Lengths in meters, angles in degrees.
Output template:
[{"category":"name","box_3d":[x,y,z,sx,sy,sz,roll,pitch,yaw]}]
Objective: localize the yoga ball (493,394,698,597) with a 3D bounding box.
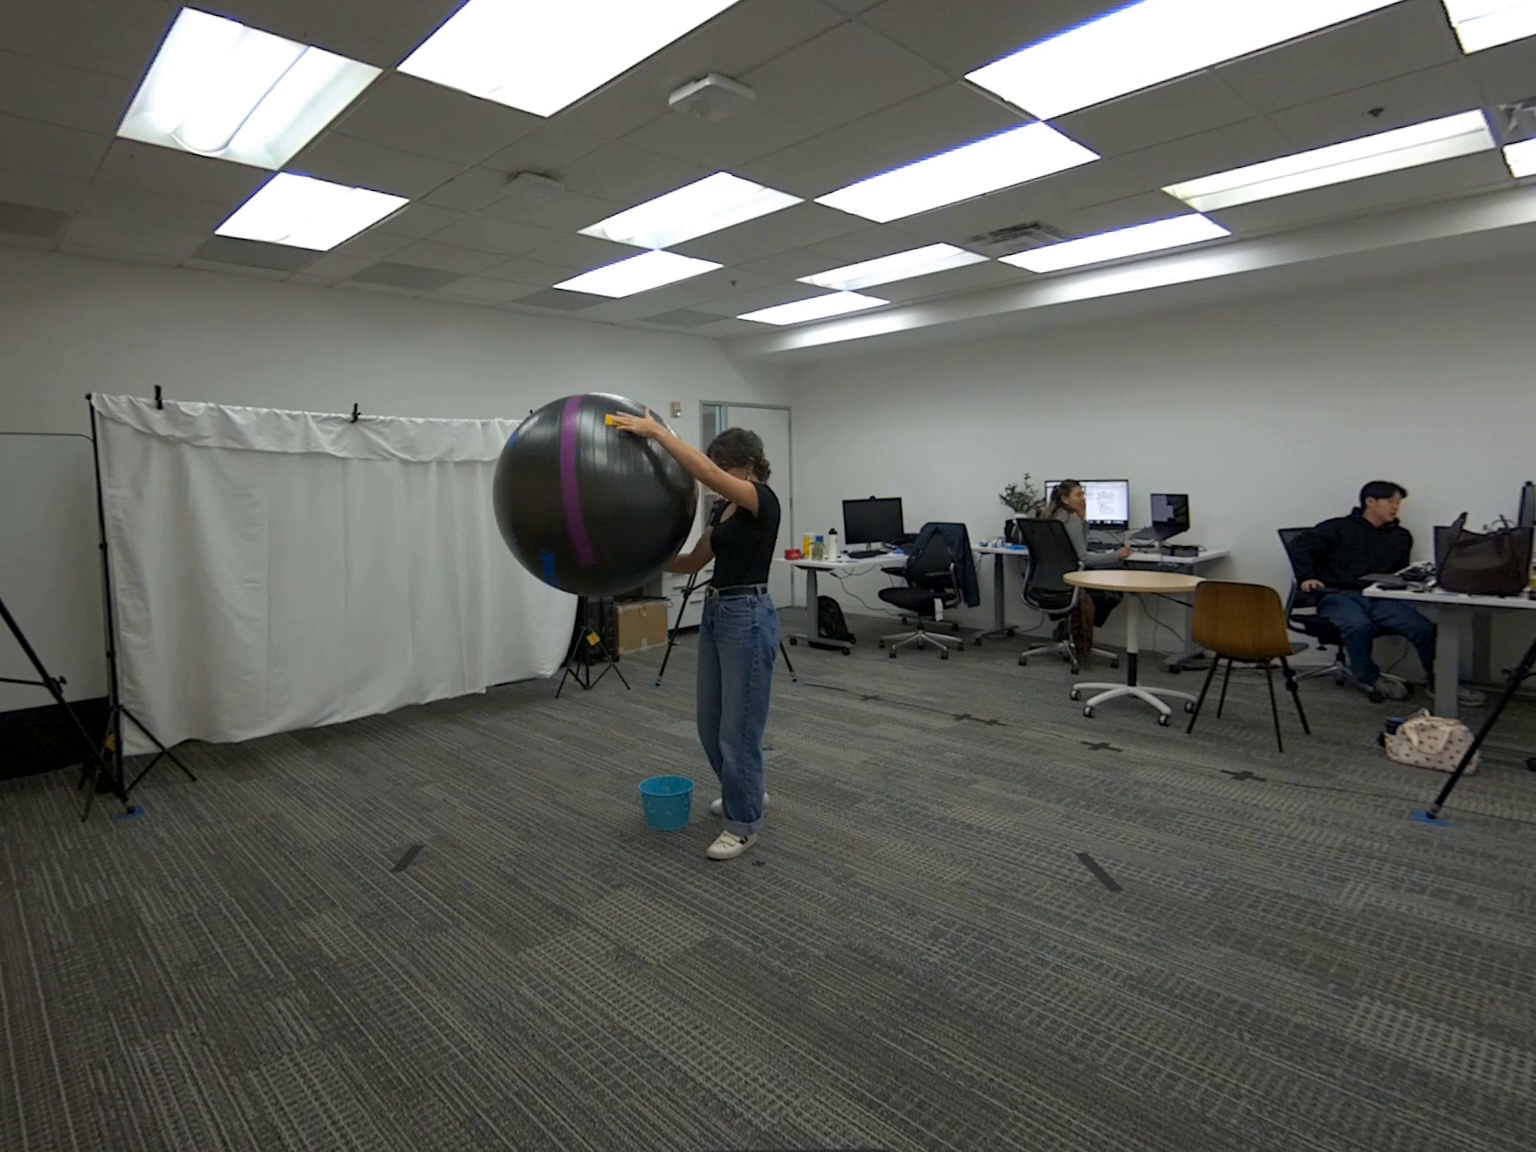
[{"category":"yoga ball","box_3d":[-0.653,-0.301,3.207,0.757,0.755,0.762,-1,5,-2]}]
